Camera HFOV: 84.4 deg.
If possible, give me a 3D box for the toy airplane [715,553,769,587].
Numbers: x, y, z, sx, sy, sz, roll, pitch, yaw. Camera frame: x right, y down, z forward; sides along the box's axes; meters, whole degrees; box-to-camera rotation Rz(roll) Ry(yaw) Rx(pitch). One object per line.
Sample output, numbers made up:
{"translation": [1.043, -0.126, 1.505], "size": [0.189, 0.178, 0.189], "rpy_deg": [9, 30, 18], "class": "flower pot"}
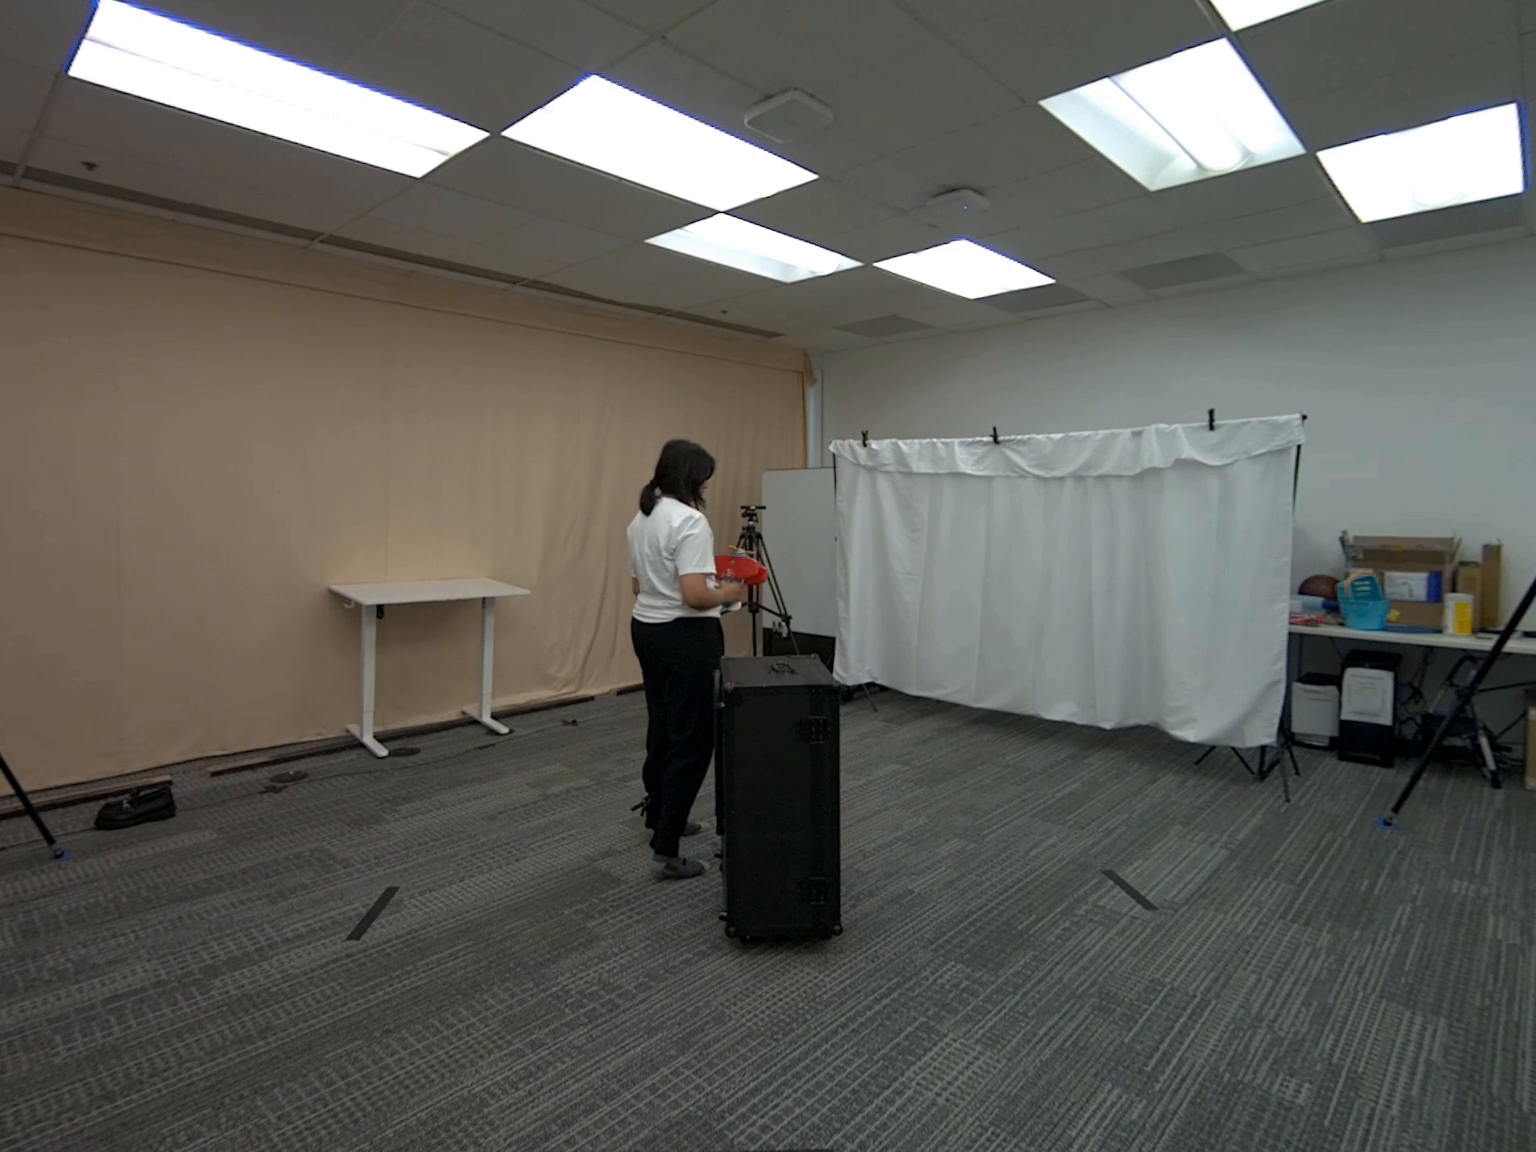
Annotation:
{"translation": [-0.116, 0.025, 3.479], "size": [0.255, 0.264, 0.151], "rpy_deg": [-17, -46, 20], "class": "toy airplane"}
